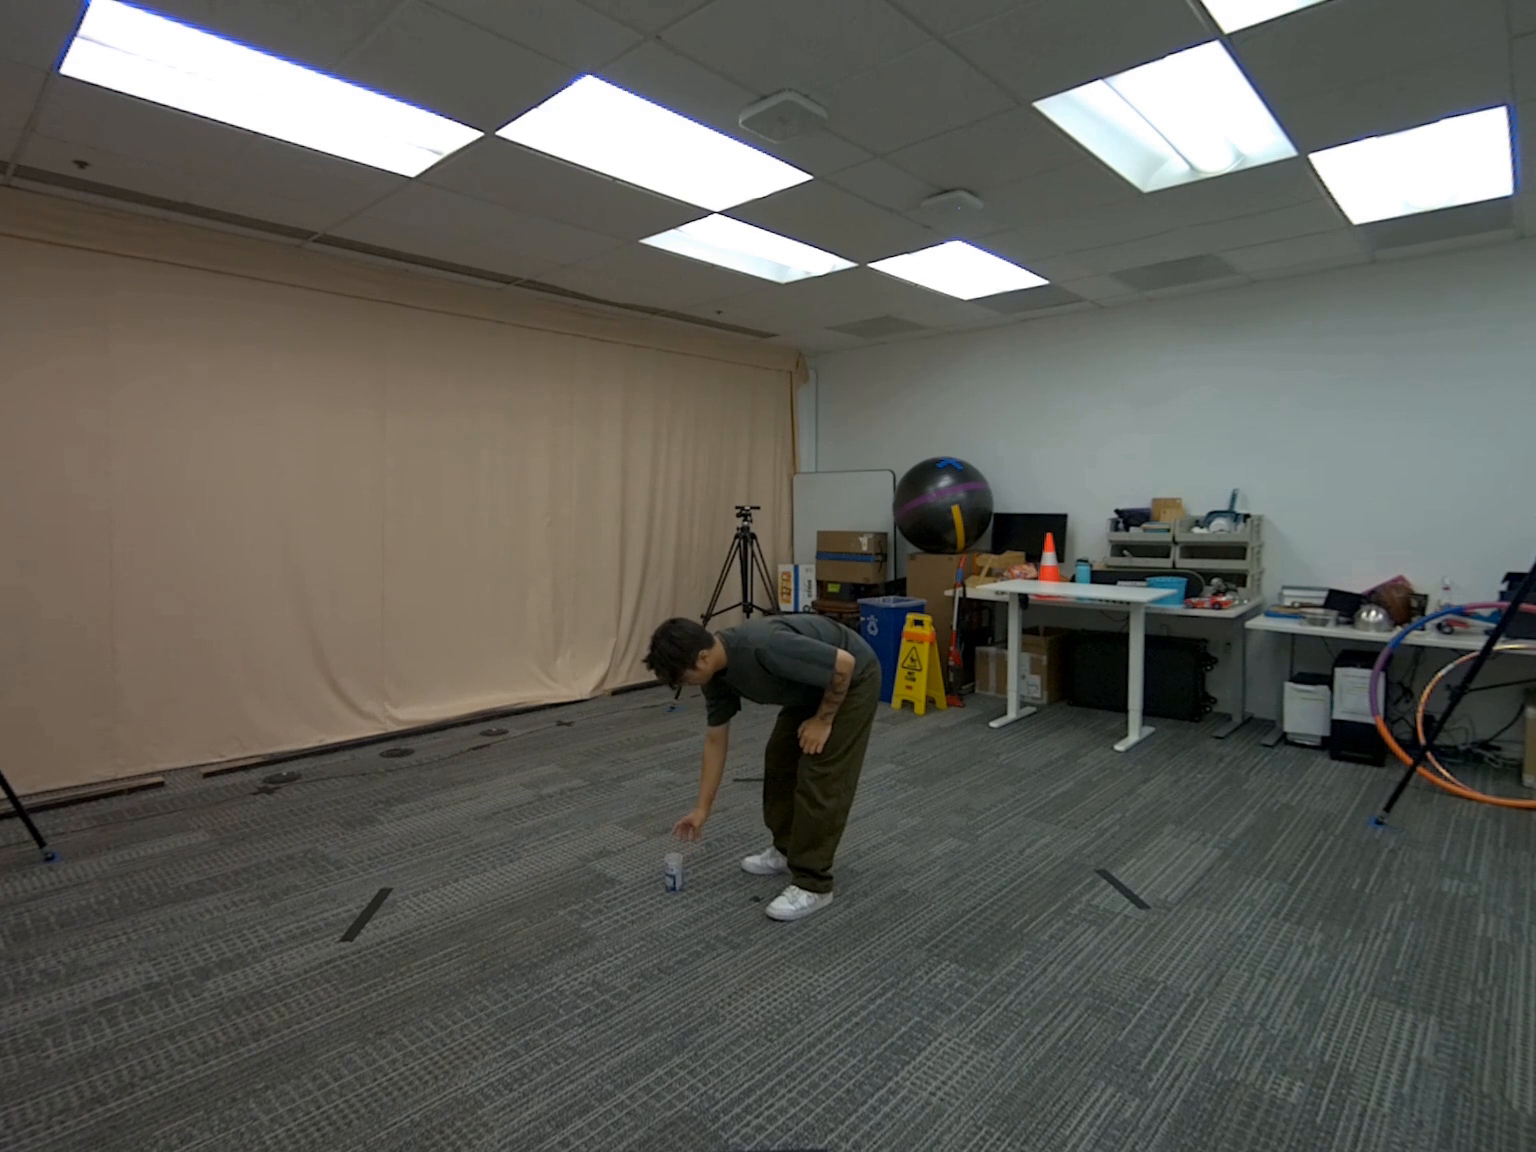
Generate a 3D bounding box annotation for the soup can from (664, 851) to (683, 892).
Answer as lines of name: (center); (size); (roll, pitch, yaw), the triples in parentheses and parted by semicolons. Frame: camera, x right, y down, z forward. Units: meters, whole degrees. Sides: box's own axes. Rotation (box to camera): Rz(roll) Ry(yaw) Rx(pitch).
soup can: (-0.338, 1.079, 3.066); (0.067, 0.121, 0.067); (-2, 2, -2)
